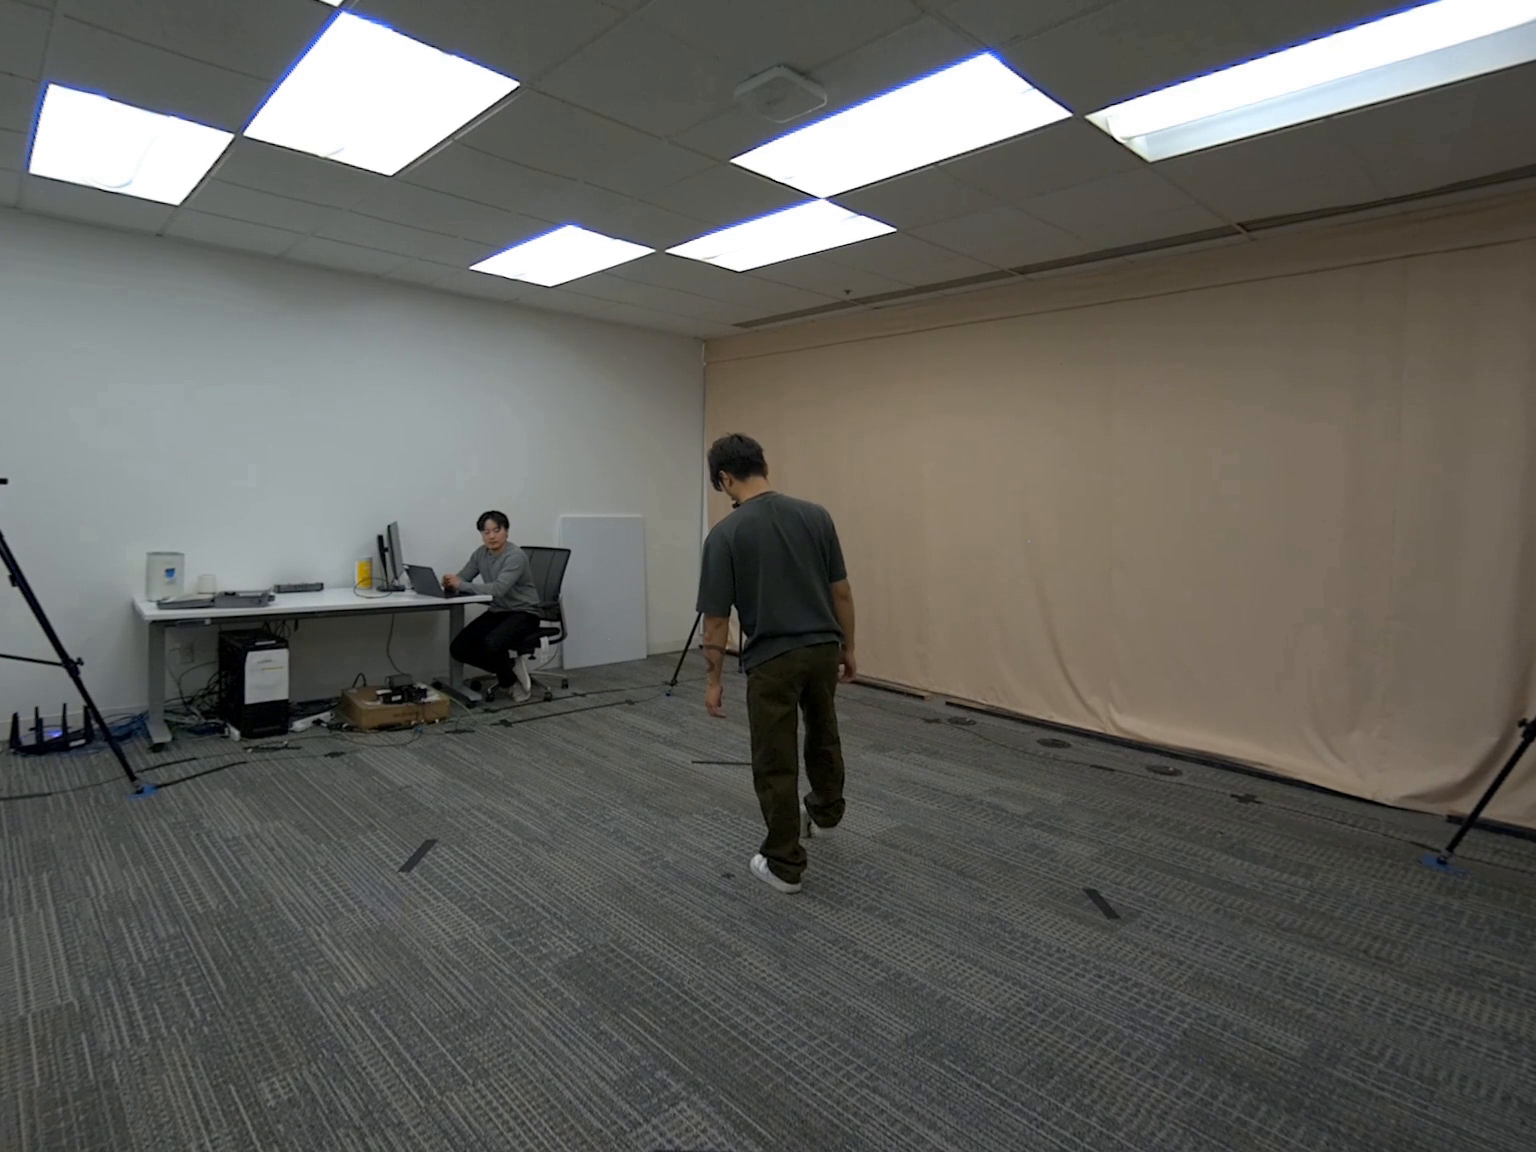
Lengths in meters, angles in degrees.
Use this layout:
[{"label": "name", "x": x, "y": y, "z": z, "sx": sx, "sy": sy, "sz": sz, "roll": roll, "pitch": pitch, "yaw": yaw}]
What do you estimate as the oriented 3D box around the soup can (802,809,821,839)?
[{"label": "soup can", "x": 0.145, "y": 1.022, "z": 3.499, "sx": 0.067, "sy": 0.121, "sz": 0.067, "roll": 3, "pitch": 3, "yaw": -2}]
